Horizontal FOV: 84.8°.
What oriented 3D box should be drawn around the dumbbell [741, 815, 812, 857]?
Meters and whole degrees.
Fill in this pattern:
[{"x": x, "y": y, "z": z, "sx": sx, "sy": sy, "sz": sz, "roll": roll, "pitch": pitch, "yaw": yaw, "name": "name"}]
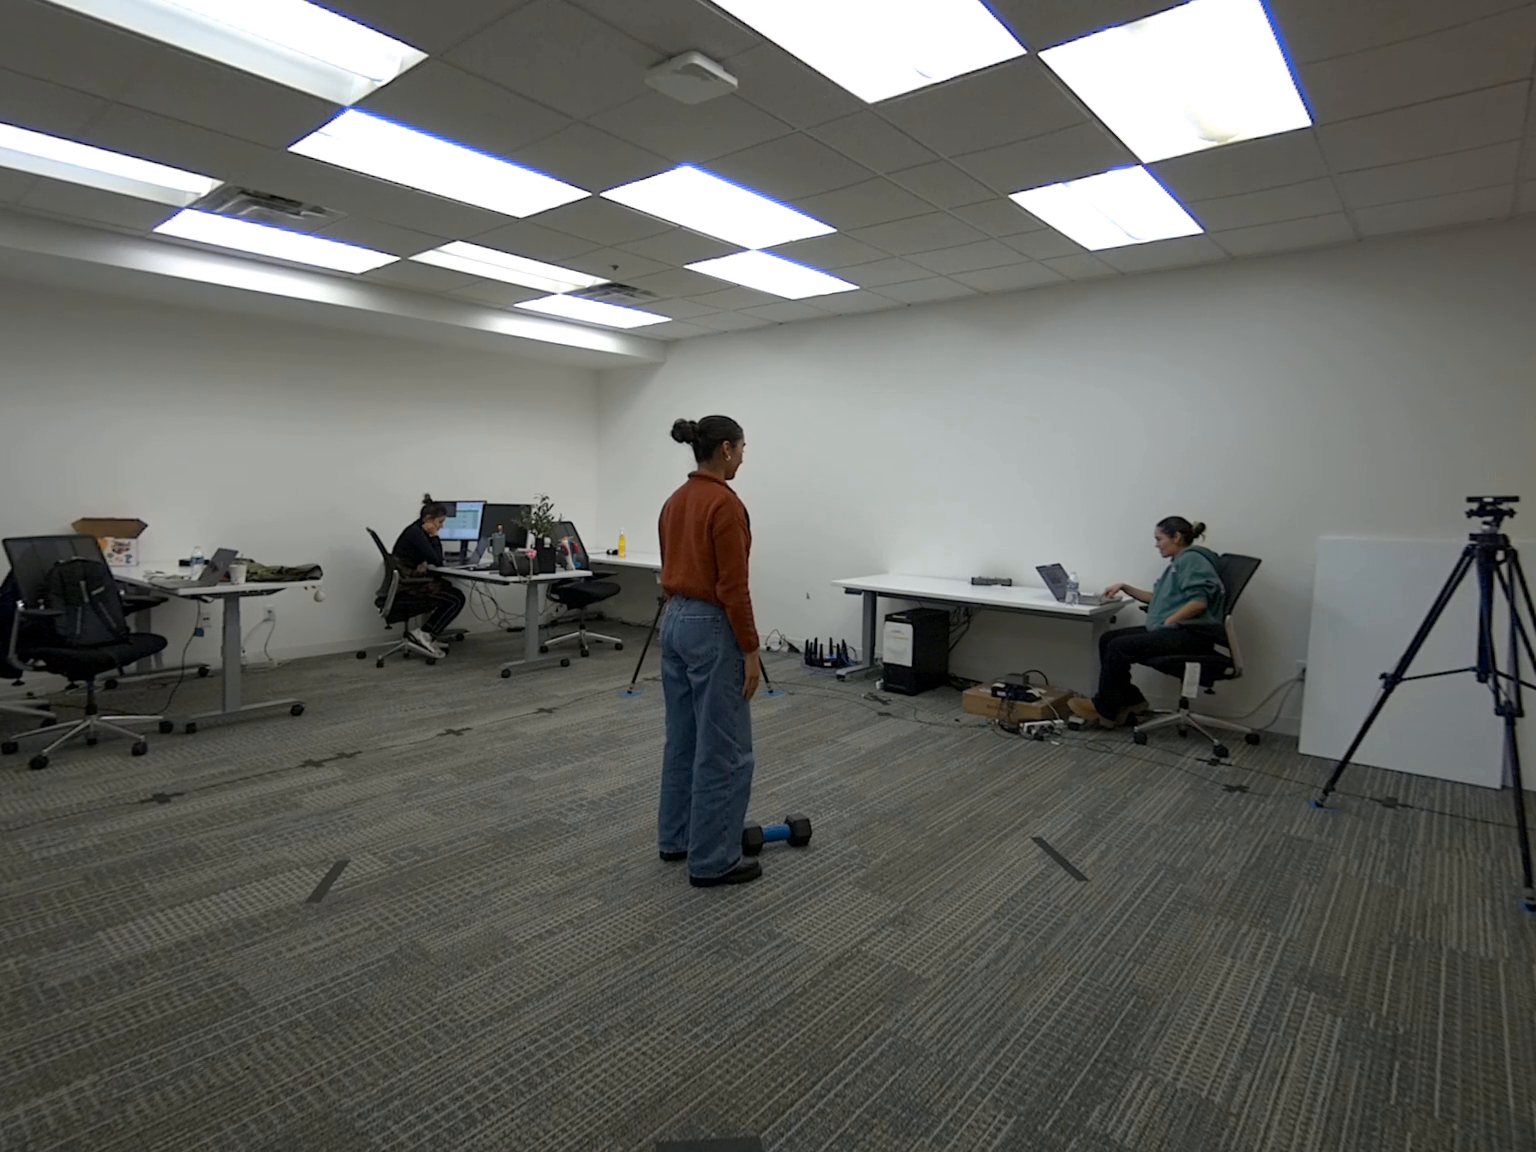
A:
[{"x": 0.015, "y": 1.001, "z": 3.297, "sx": 0.287, "sy": 0.121, "sz": 0.113, "roll": -2, "pitch": 35, "yaw": -25, "name": "dumbbell"}]
